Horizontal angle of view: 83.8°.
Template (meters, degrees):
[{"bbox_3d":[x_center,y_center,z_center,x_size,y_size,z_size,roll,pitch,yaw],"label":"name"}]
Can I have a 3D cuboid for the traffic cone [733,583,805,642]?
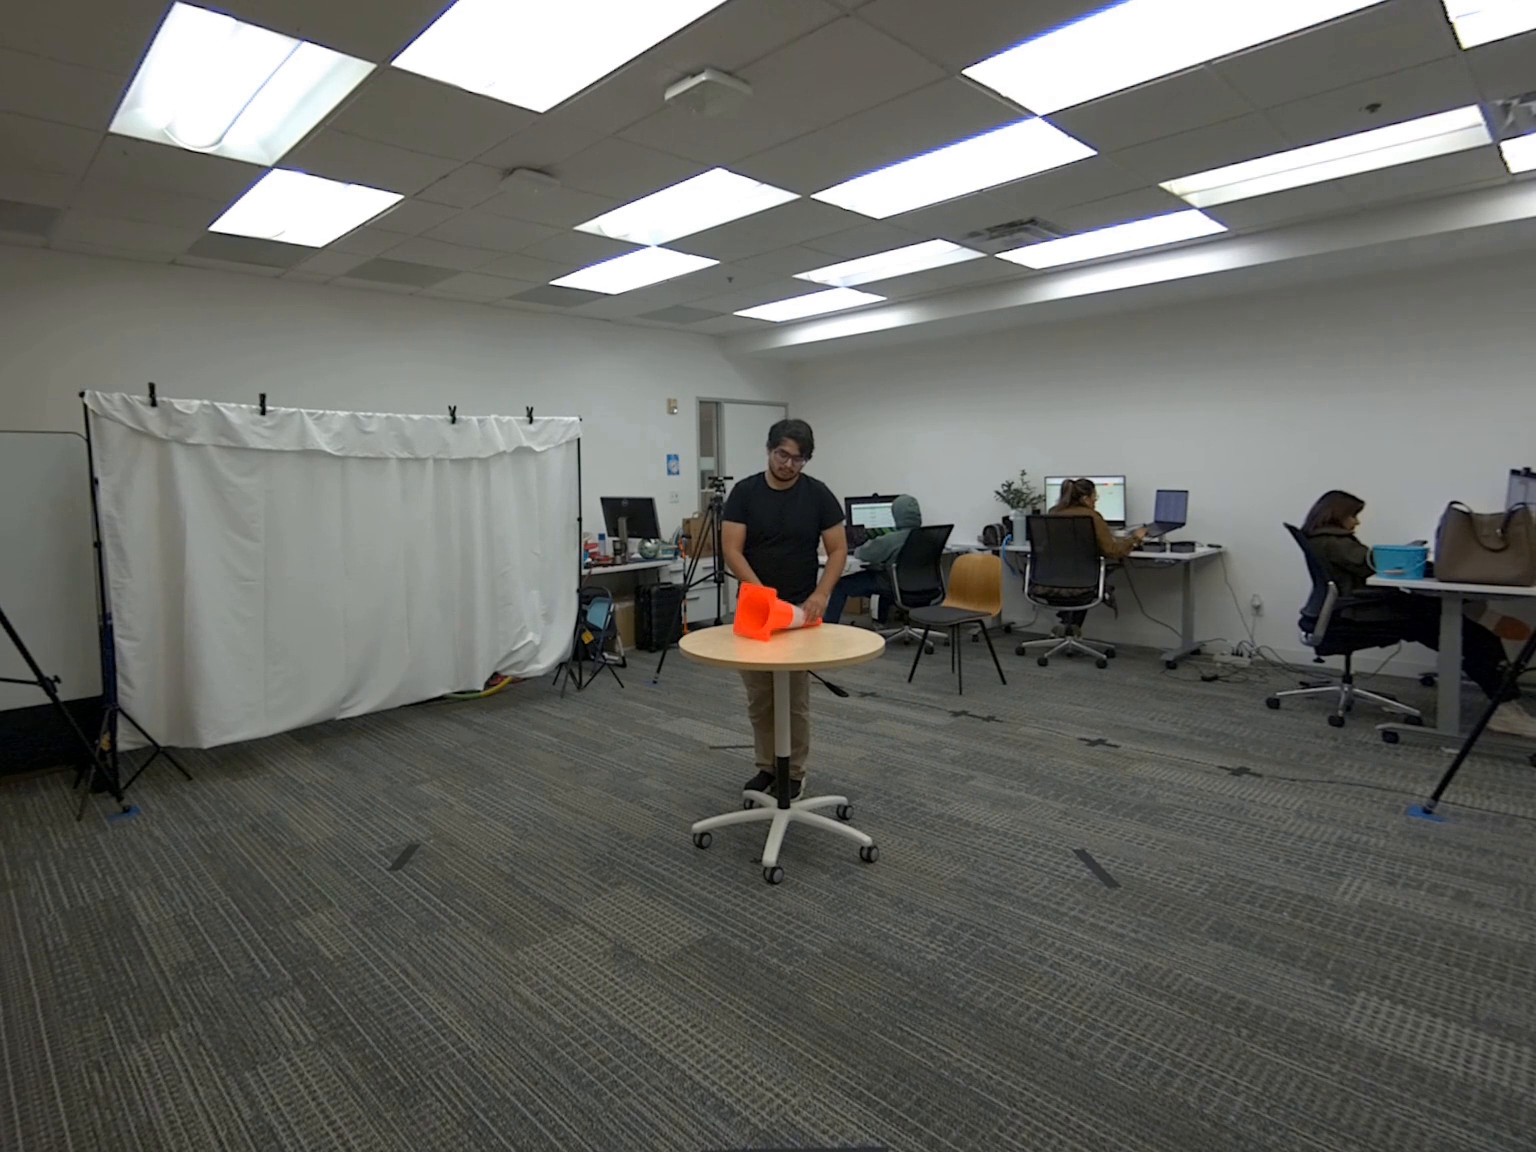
[{"bbox_3d":[0.087,0.159,3.357,0.371,0.203,0.212,9,1,-42],"label":"traffic cone"}]
